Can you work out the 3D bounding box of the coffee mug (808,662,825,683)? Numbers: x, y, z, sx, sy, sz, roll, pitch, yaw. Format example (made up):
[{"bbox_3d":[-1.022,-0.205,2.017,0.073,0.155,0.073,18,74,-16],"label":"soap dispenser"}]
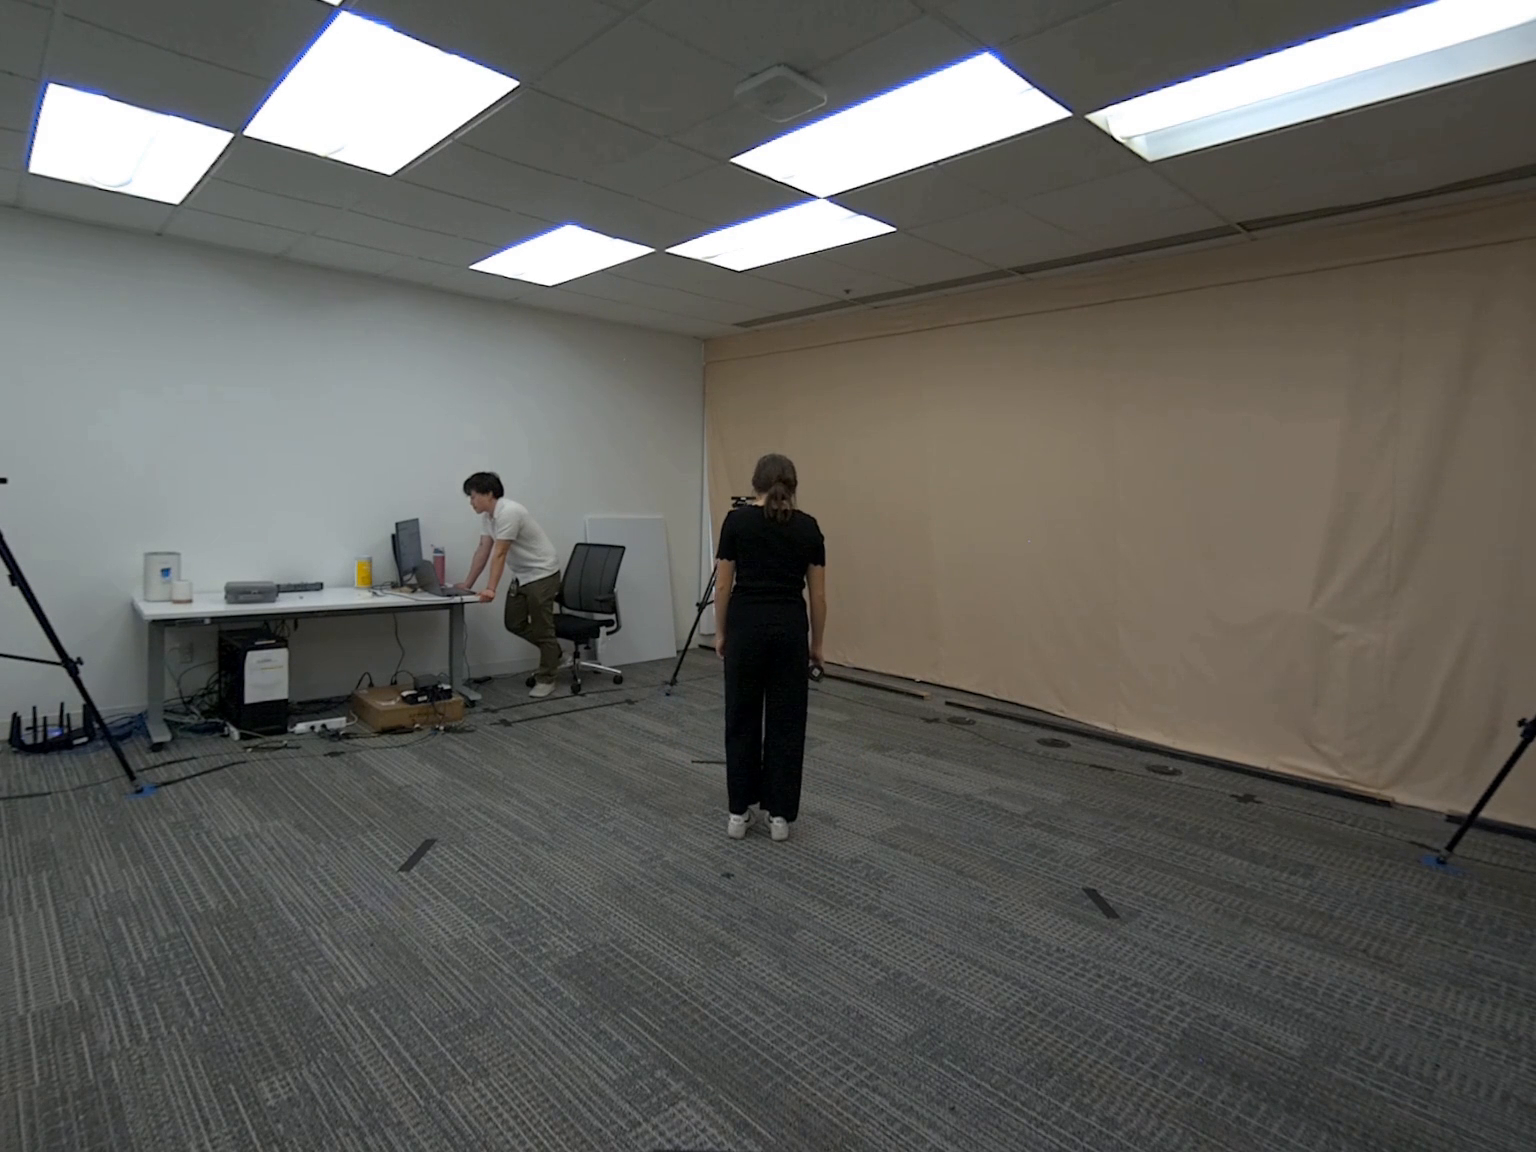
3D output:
[{"bbox_3d":[0.186,0.407,3.622,0.120,0.088,0.205,17,-6,-16],"label":"coffee mug"}]
